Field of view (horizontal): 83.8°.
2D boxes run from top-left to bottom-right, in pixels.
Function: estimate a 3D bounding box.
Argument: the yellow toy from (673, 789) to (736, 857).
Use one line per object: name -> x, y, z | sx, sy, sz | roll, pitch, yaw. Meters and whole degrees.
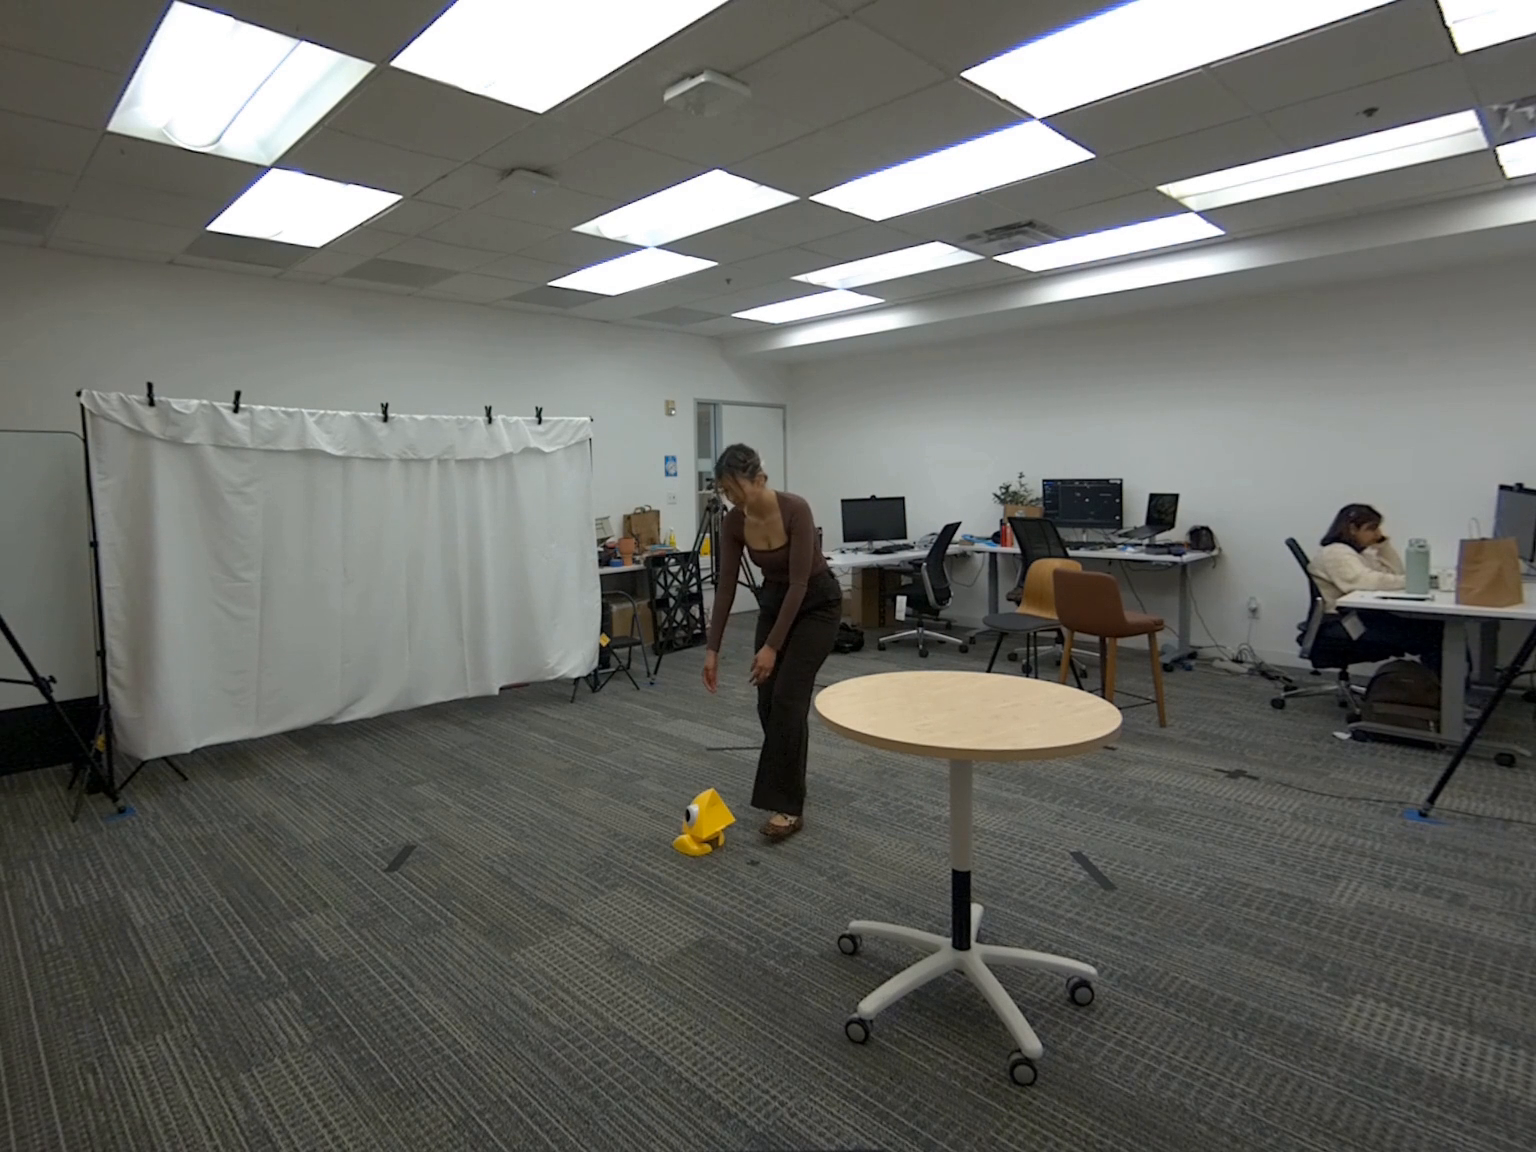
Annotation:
yellow toy -> -0.254, 0.918, 3.265 | 0.198, 0.230, 0.200 | 2, 6, 35
